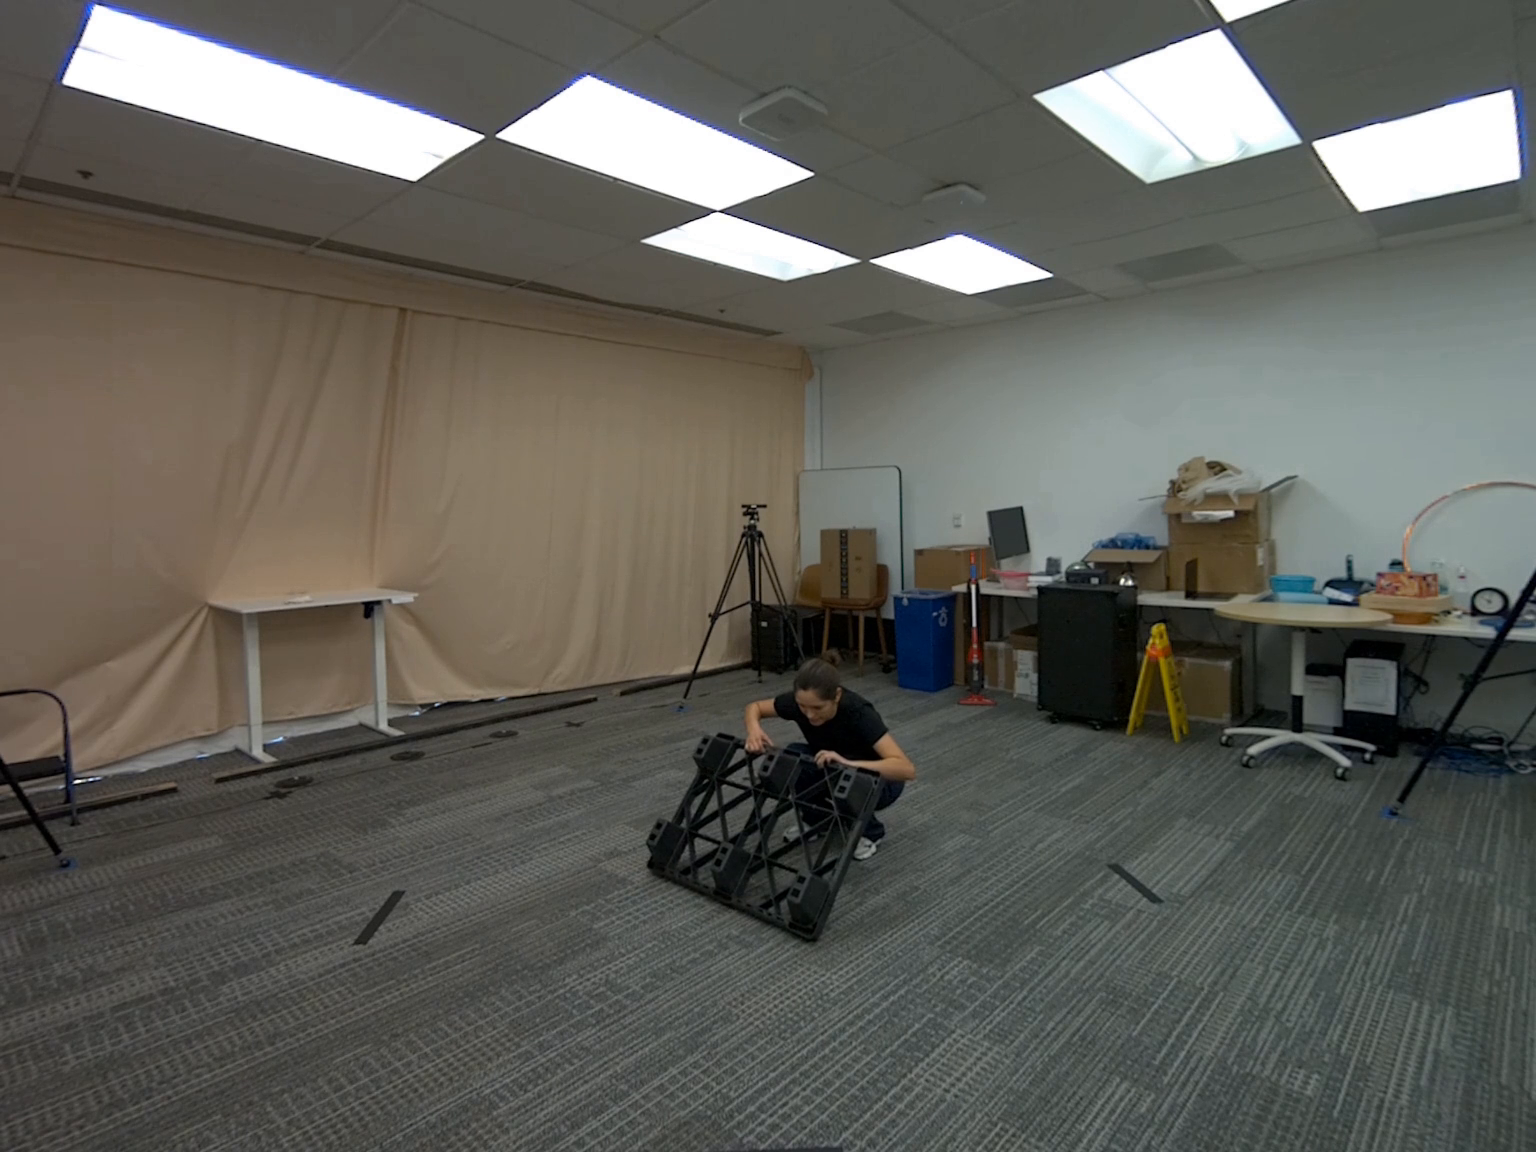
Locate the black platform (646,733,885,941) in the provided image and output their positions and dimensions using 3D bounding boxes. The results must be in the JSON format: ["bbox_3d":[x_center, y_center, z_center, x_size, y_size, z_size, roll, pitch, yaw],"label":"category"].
[{"bbox_3d":[-0.032,0.869,3.039,0.832,0.605,0.139,2,-37,42],"label":"black platform"}]
